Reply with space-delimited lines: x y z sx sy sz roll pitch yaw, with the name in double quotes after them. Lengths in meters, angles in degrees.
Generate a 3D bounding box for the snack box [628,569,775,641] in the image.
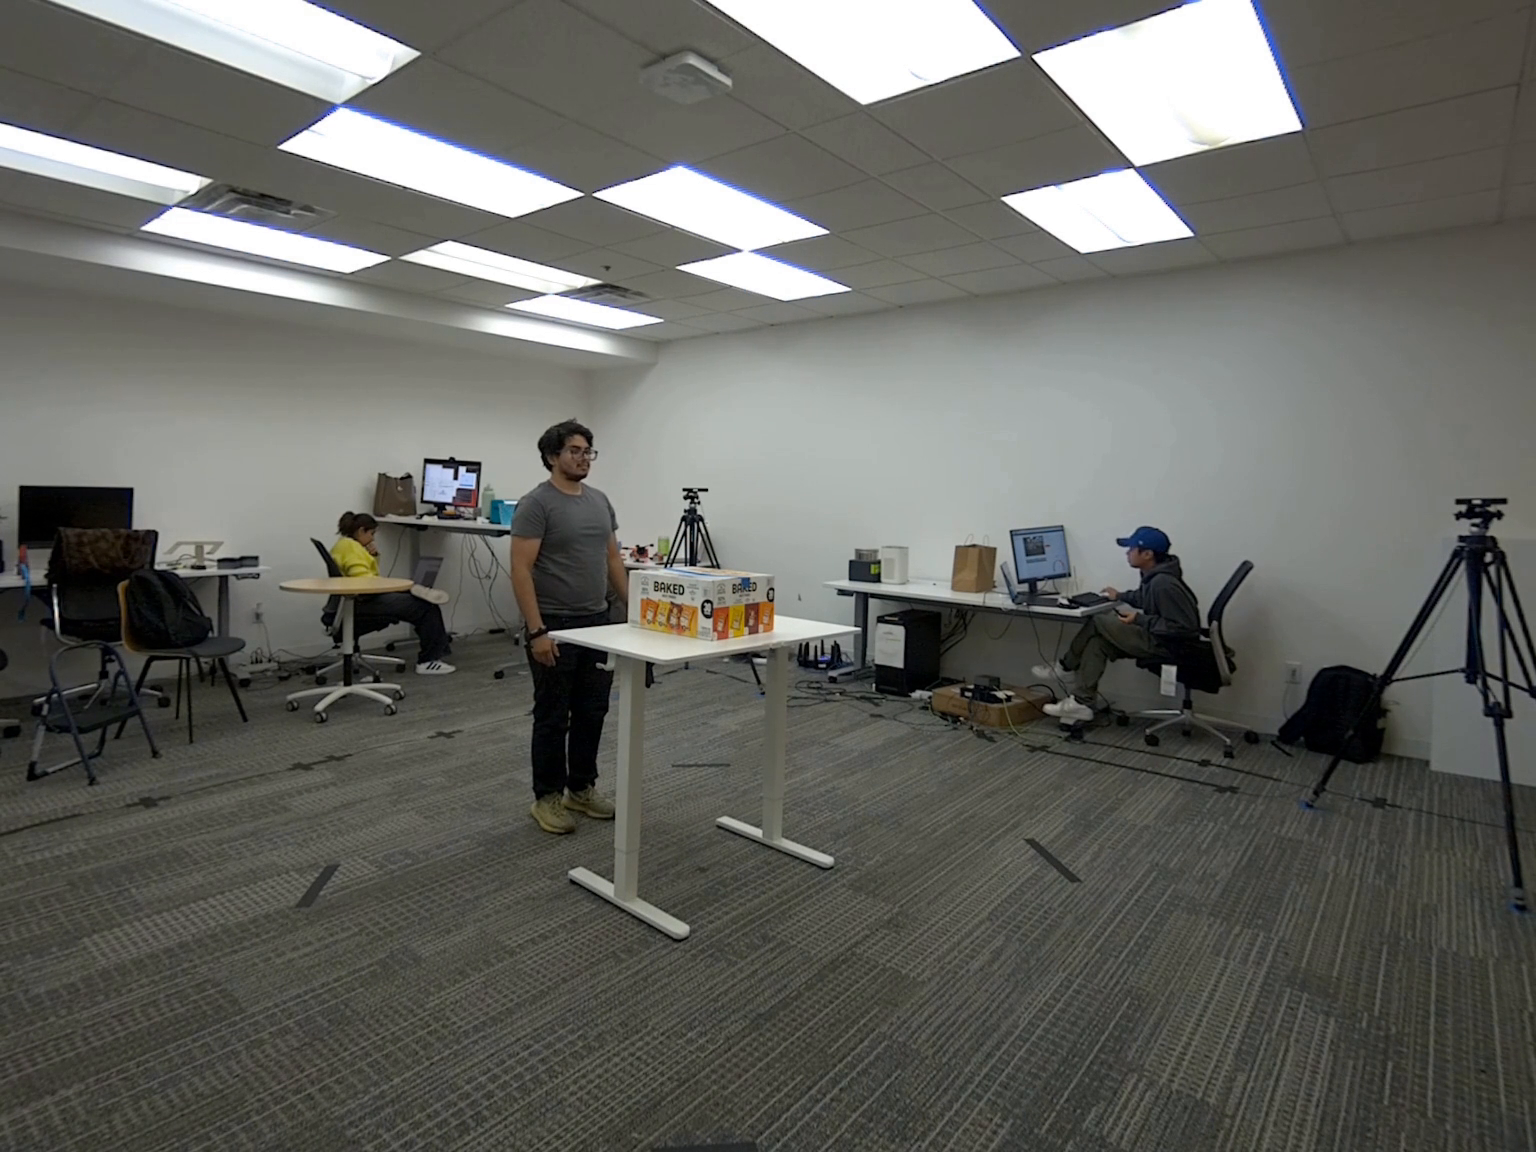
-0.253 0.087 3.072 0.419 0.205 0.330 5 6 39 "snack box"
